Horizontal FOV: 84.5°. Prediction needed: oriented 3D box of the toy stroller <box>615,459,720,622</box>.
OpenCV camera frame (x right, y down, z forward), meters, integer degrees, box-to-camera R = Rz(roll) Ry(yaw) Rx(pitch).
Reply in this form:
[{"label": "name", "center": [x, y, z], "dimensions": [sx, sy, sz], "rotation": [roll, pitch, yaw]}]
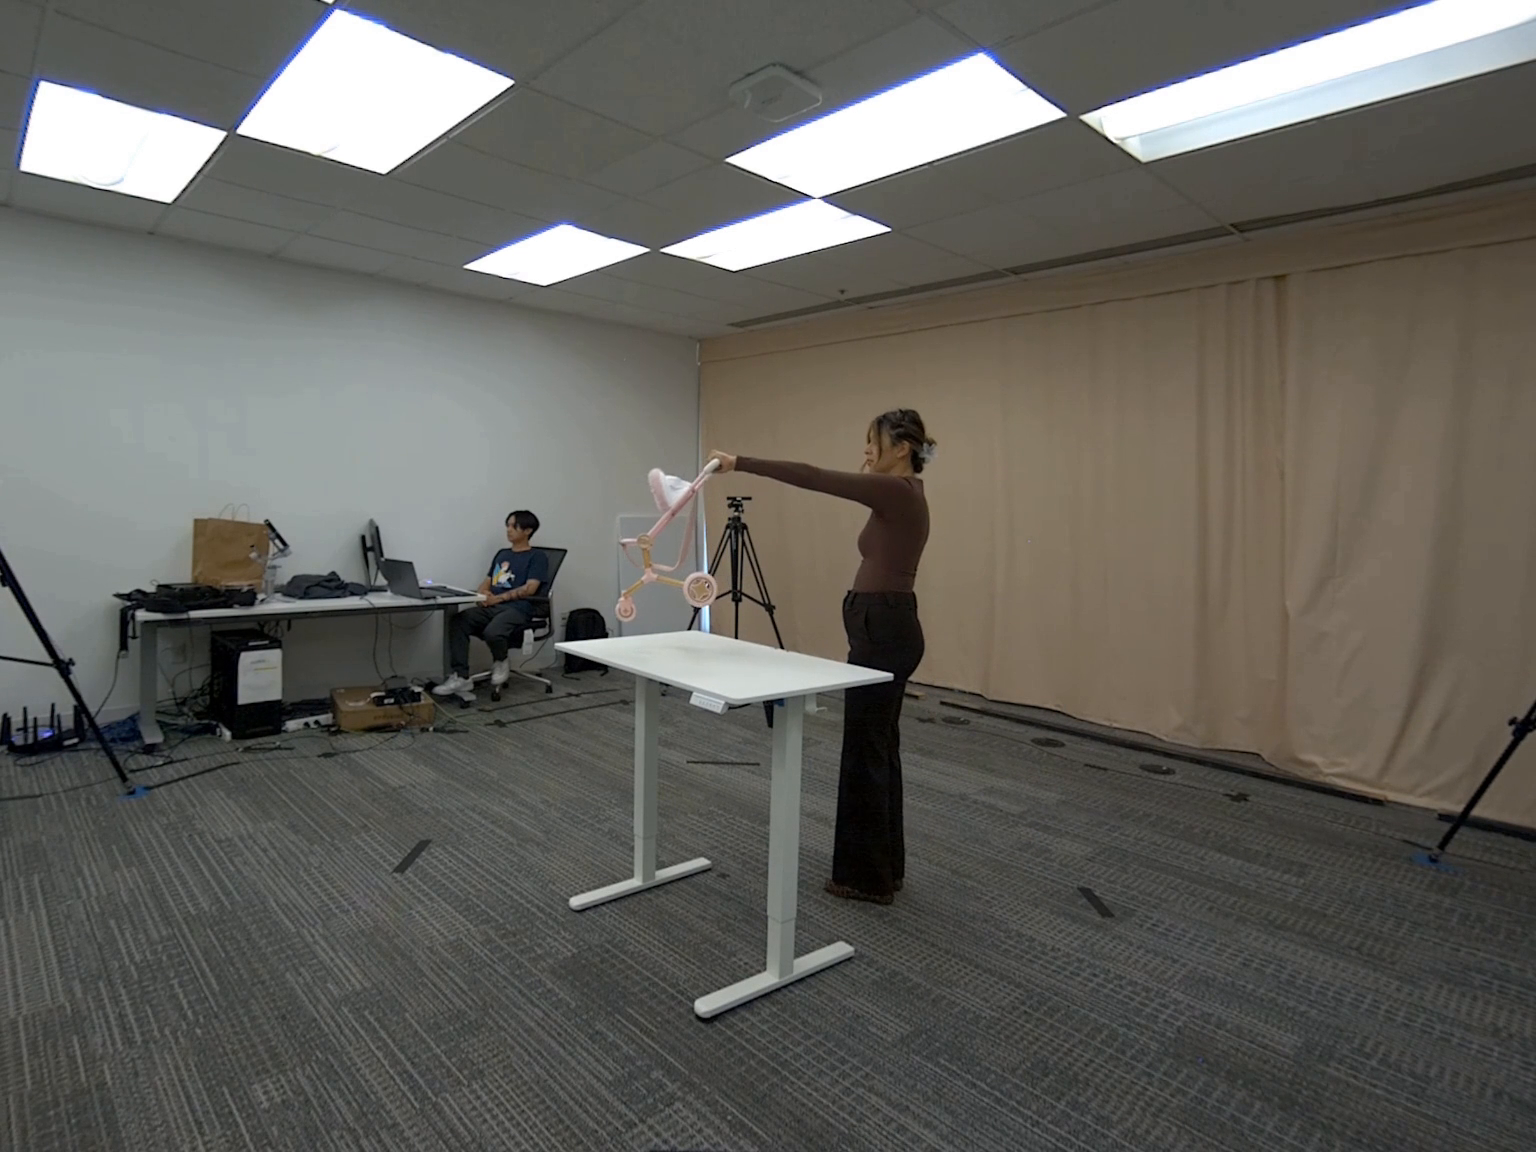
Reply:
[{"label": "toy stroller", "center": [-0.352, -0.114, 2.781], "dimensions": [0.342, 0.535, 0.281], "rotation": [0, -1, 1]}]
